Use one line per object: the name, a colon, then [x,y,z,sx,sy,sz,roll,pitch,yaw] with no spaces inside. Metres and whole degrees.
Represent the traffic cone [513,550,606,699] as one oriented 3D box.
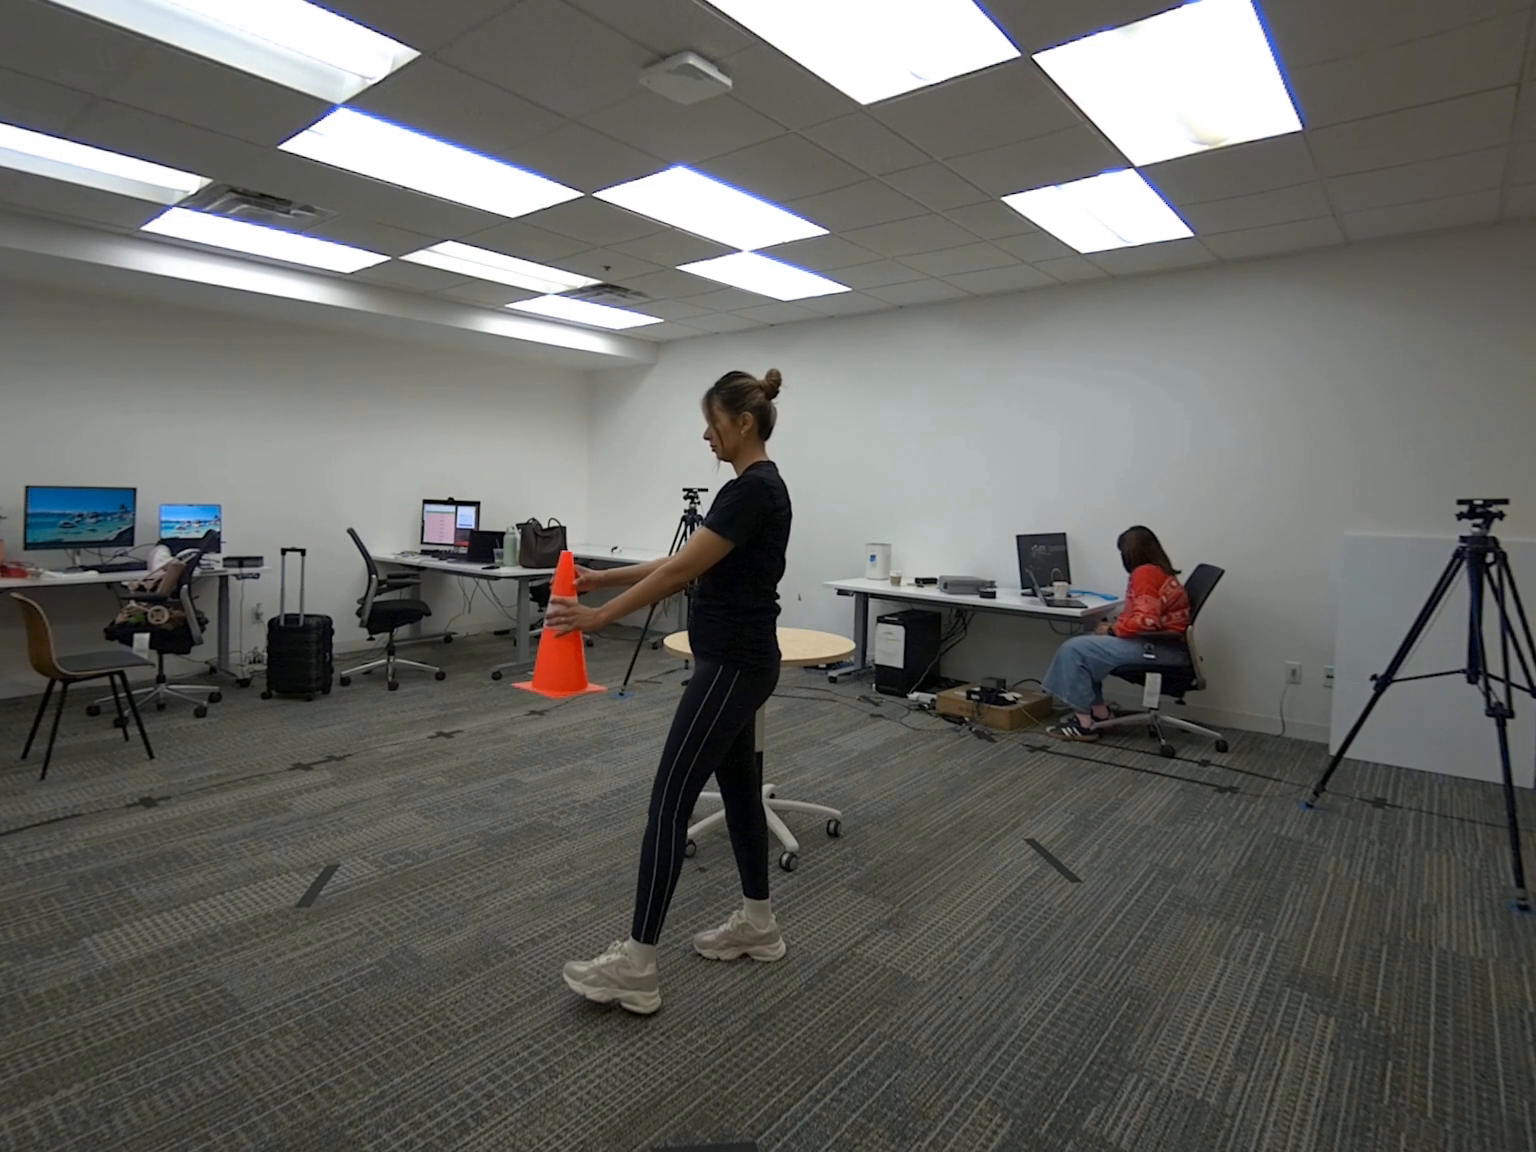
traffic cone: [-0.590,0.120,2.377,0.211,0.384,0.197,2,-1,37]
